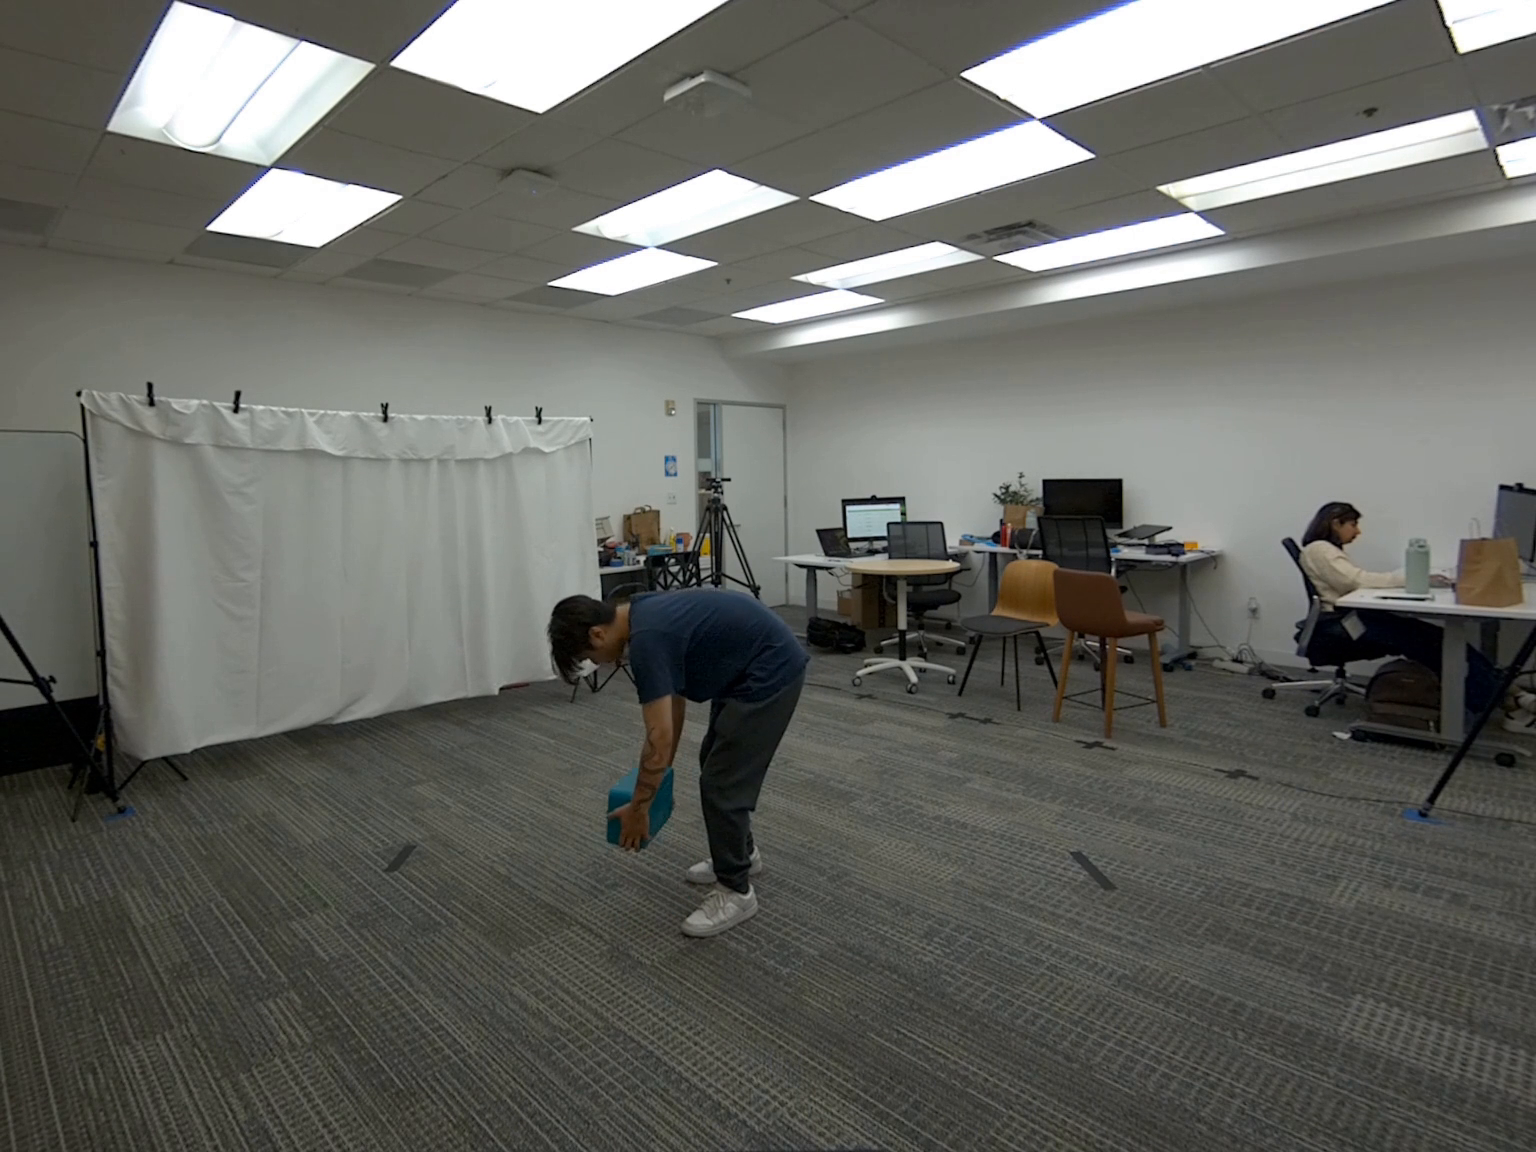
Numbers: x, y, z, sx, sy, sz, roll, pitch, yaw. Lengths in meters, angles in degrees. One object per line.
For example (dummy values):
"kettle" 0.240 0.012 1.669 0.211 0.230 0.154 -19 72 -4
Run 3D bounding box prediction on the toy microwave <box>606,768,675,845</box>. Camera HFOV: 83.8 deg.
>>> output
"toy microwave" -0.405 0.734 2.749 0.154 0.183 0.284 5 9 12
